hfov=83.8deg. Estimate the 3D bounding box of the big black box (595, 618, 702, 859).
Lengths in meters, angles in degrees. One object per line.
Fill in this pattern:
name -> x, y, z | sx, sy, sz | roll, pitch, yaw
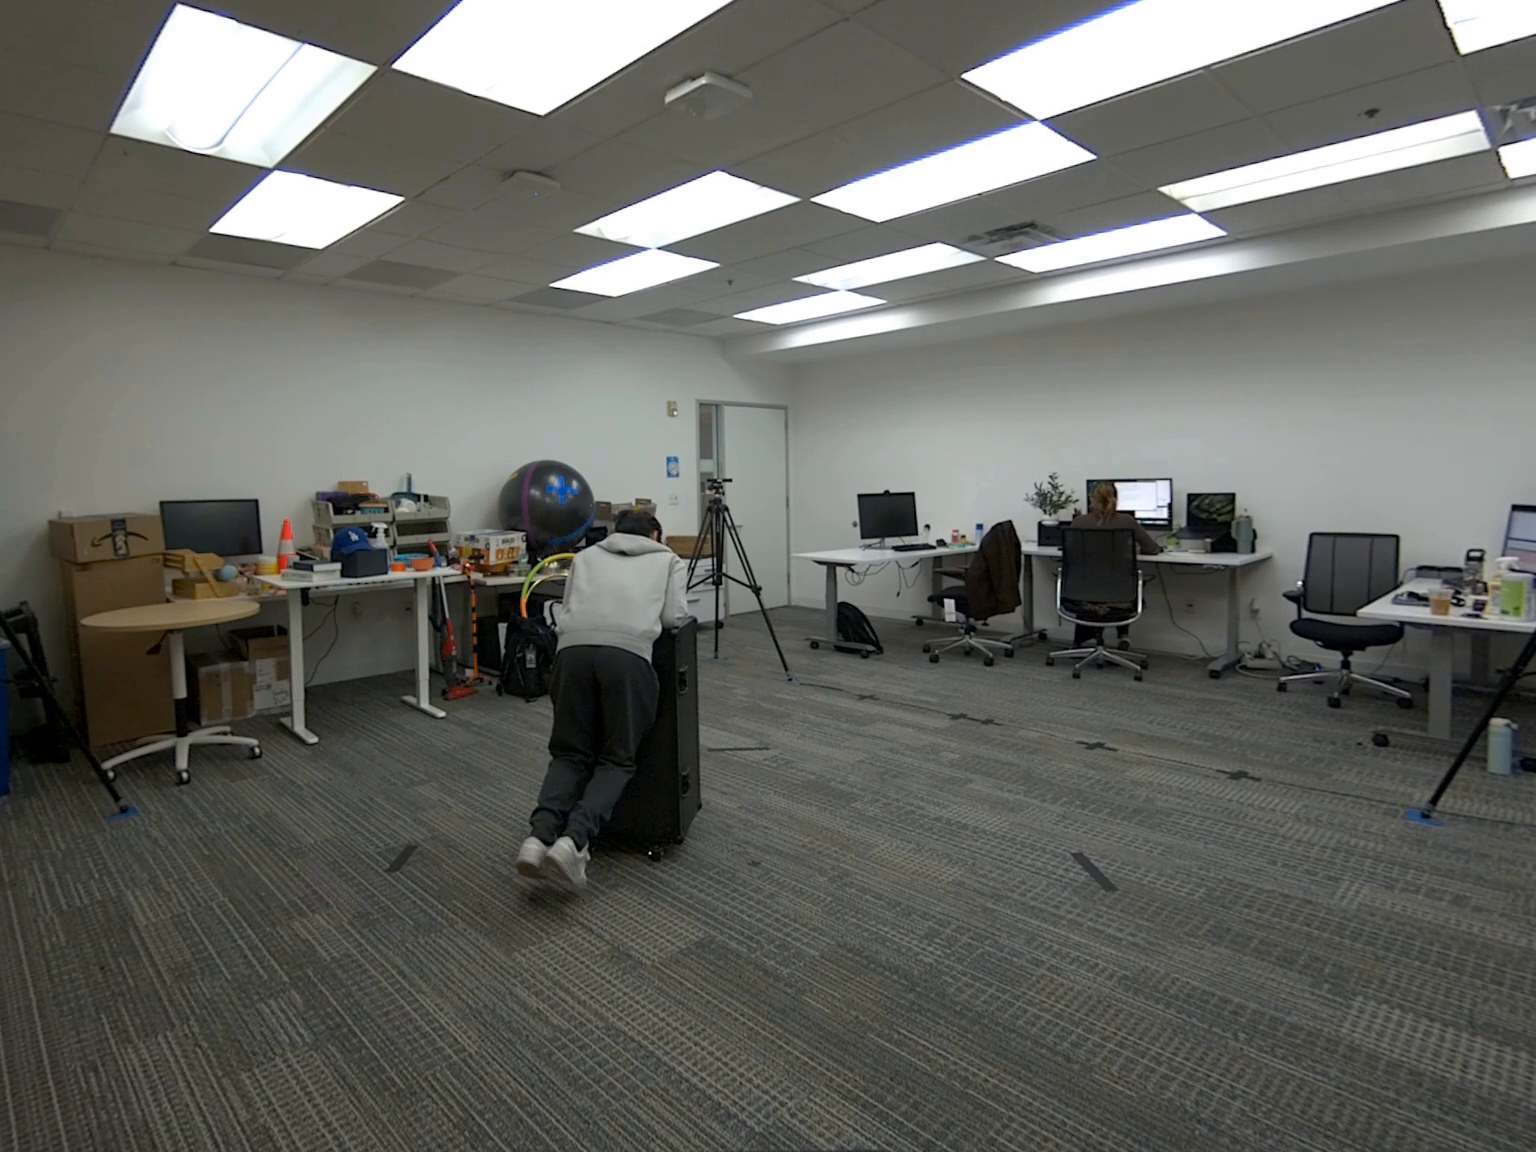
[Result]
big black box -> -0.539, 0.610, 3.330 | 0.527, 0.859, 0.393 | 0, 4, 10
